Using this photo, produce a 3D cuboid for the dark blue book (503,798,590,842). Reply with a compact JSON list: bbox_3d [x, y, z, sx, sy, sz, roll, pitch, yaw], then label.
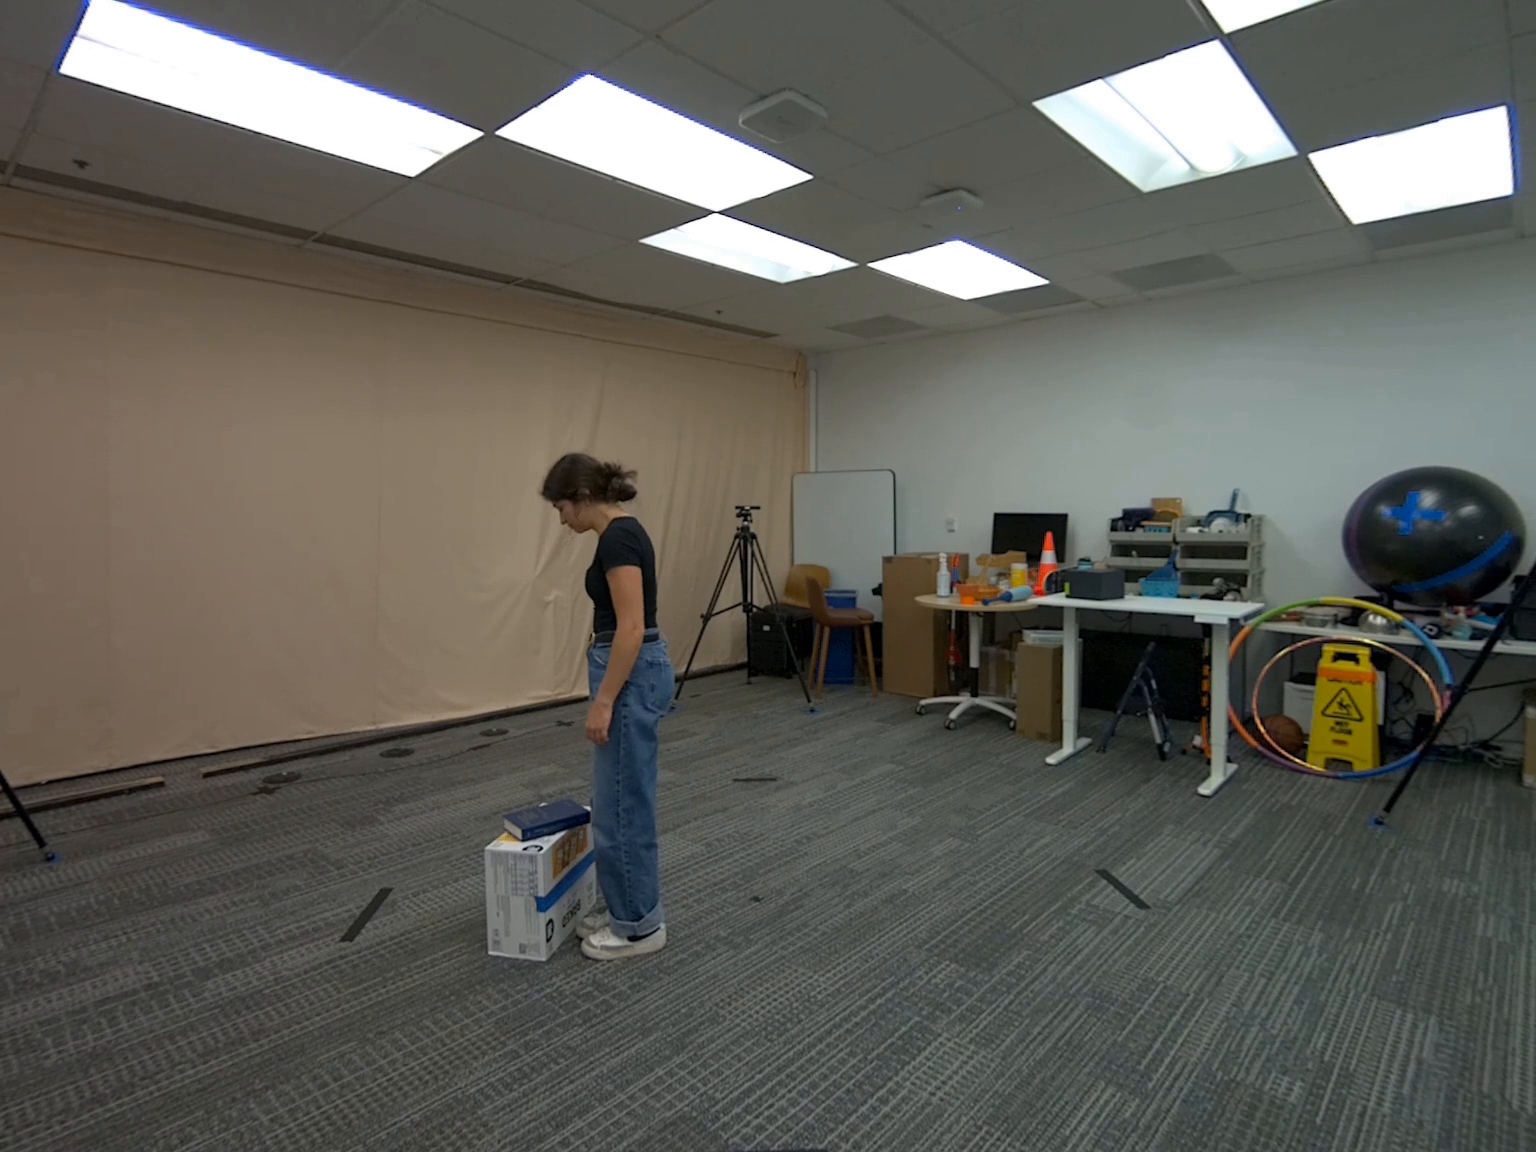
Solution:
[{"bbox_3d":[-0.736,0.810,2.786,0.238,0.045,0.168,-5,6,-37],"label":"dark blue book"}]
